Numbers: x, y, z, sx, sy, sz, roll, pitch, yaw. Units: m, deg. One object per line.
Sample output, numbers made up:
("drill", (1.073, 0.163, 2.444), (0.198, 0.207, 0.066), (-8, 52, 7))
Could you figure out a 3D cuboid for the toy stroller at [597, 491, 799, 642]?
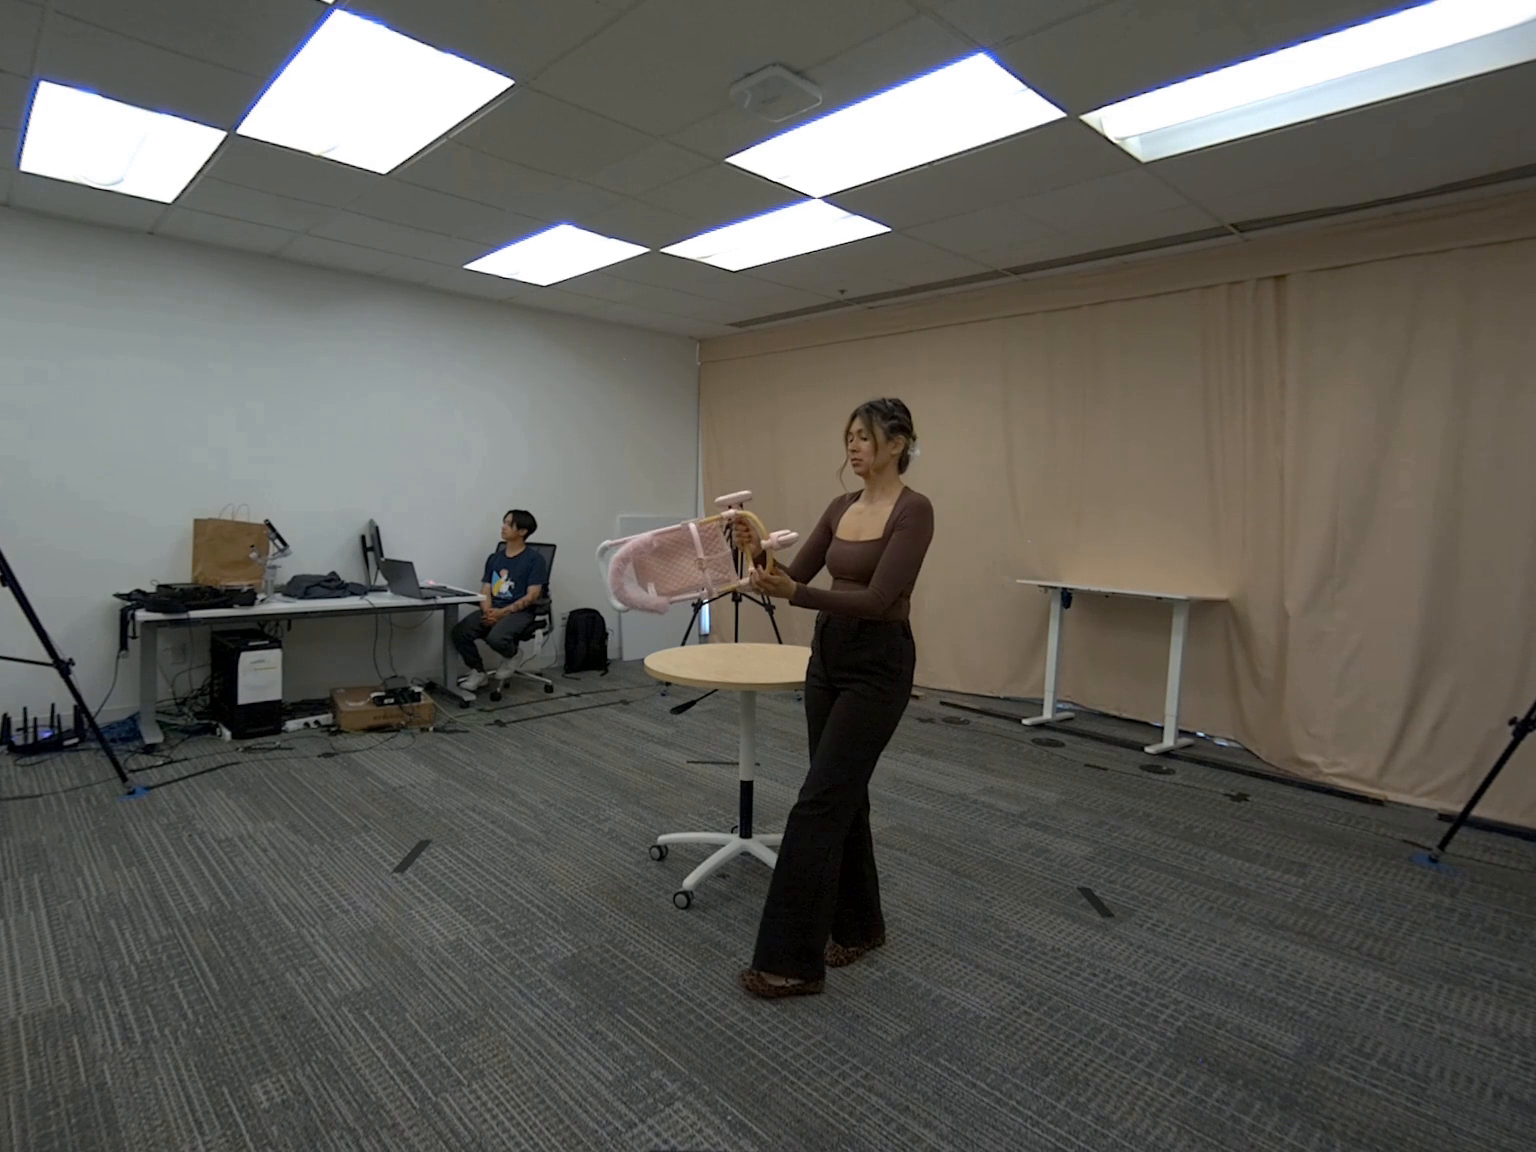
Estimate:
("toy stroller", (-0.203, -0.040, 2.264), (0.533, 0.279, 0.345), (-15, 9, -4))
